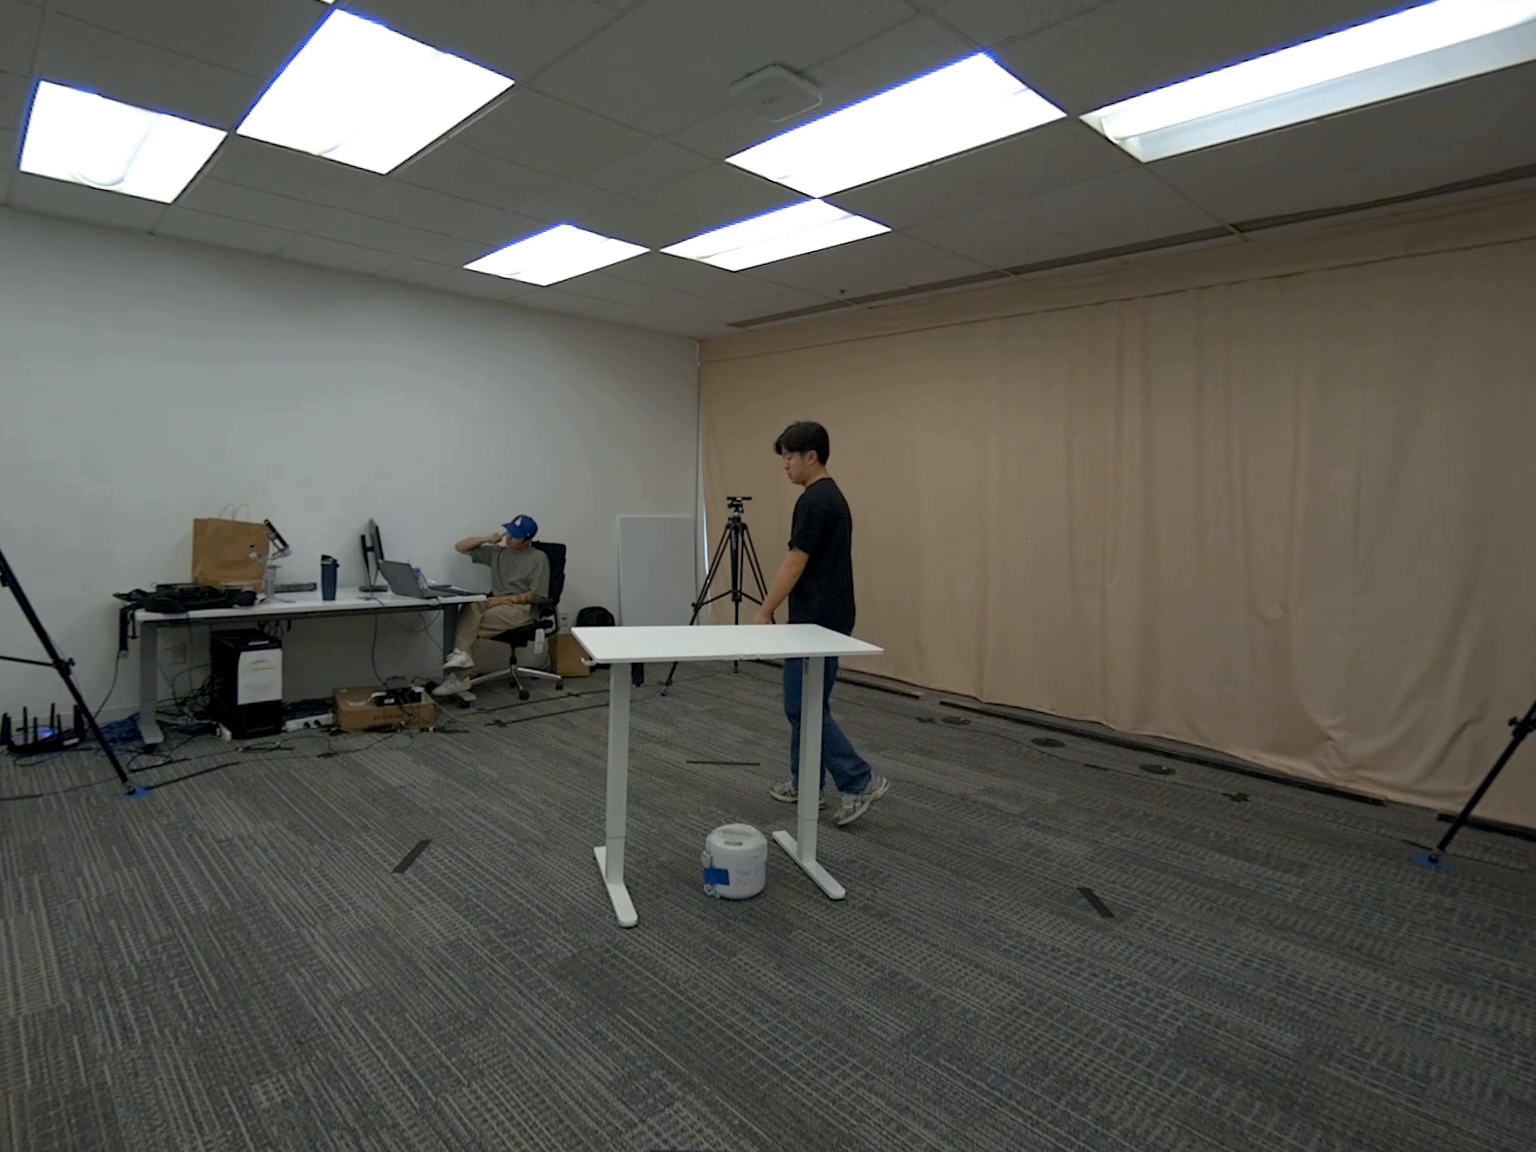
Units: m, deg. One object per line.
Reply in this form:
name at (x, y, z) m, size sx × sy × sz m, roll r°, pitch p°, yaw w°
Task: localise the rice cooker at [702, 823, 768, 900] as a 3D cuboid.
rice cooker at (-0.116, 1.002, 2.991) m, size 0.223 × 0.232 × 0.216 m, roll 2°, pitch 5°, yaw 12°
